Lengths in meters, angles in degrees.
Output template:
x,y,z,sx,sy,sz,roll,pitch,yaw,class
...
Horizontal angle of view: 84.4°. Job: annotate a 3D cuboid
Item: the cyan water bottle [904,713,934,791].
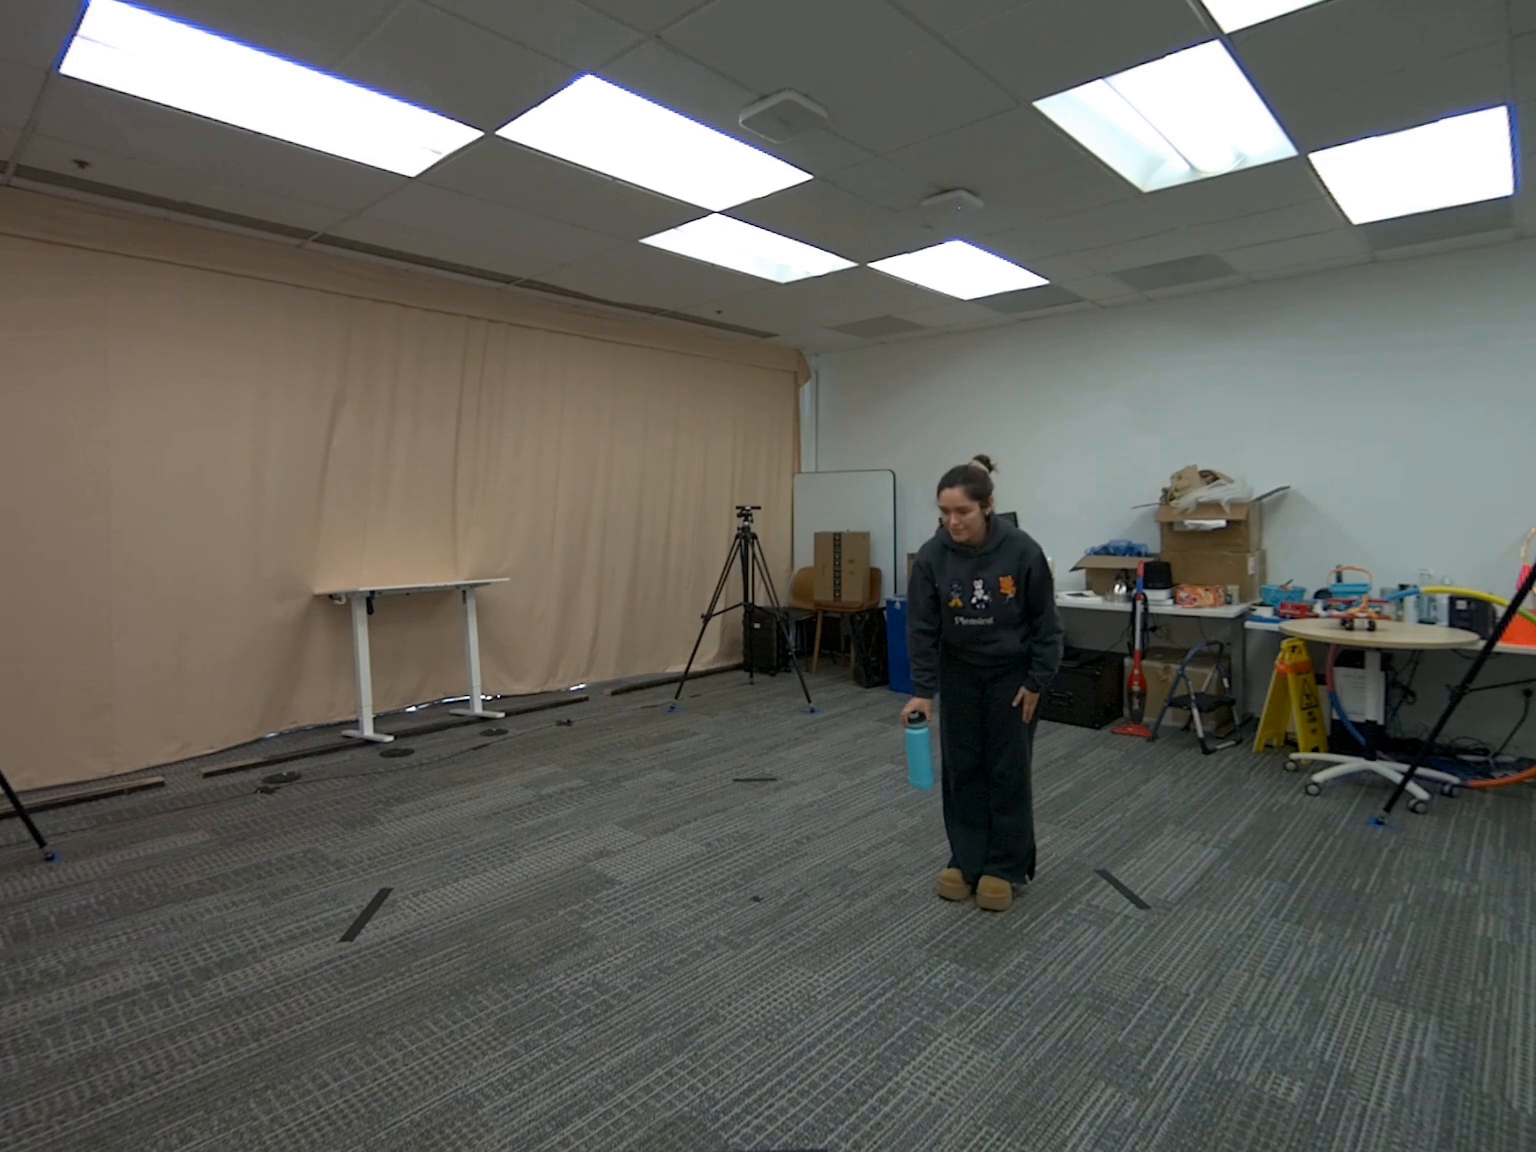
x,y,z,sx,sy,sz,roll,pitch,yaw,class
0.570,0.630,3.028,0.092,0.281,0.093,-8,9,0,cyan water bottle
